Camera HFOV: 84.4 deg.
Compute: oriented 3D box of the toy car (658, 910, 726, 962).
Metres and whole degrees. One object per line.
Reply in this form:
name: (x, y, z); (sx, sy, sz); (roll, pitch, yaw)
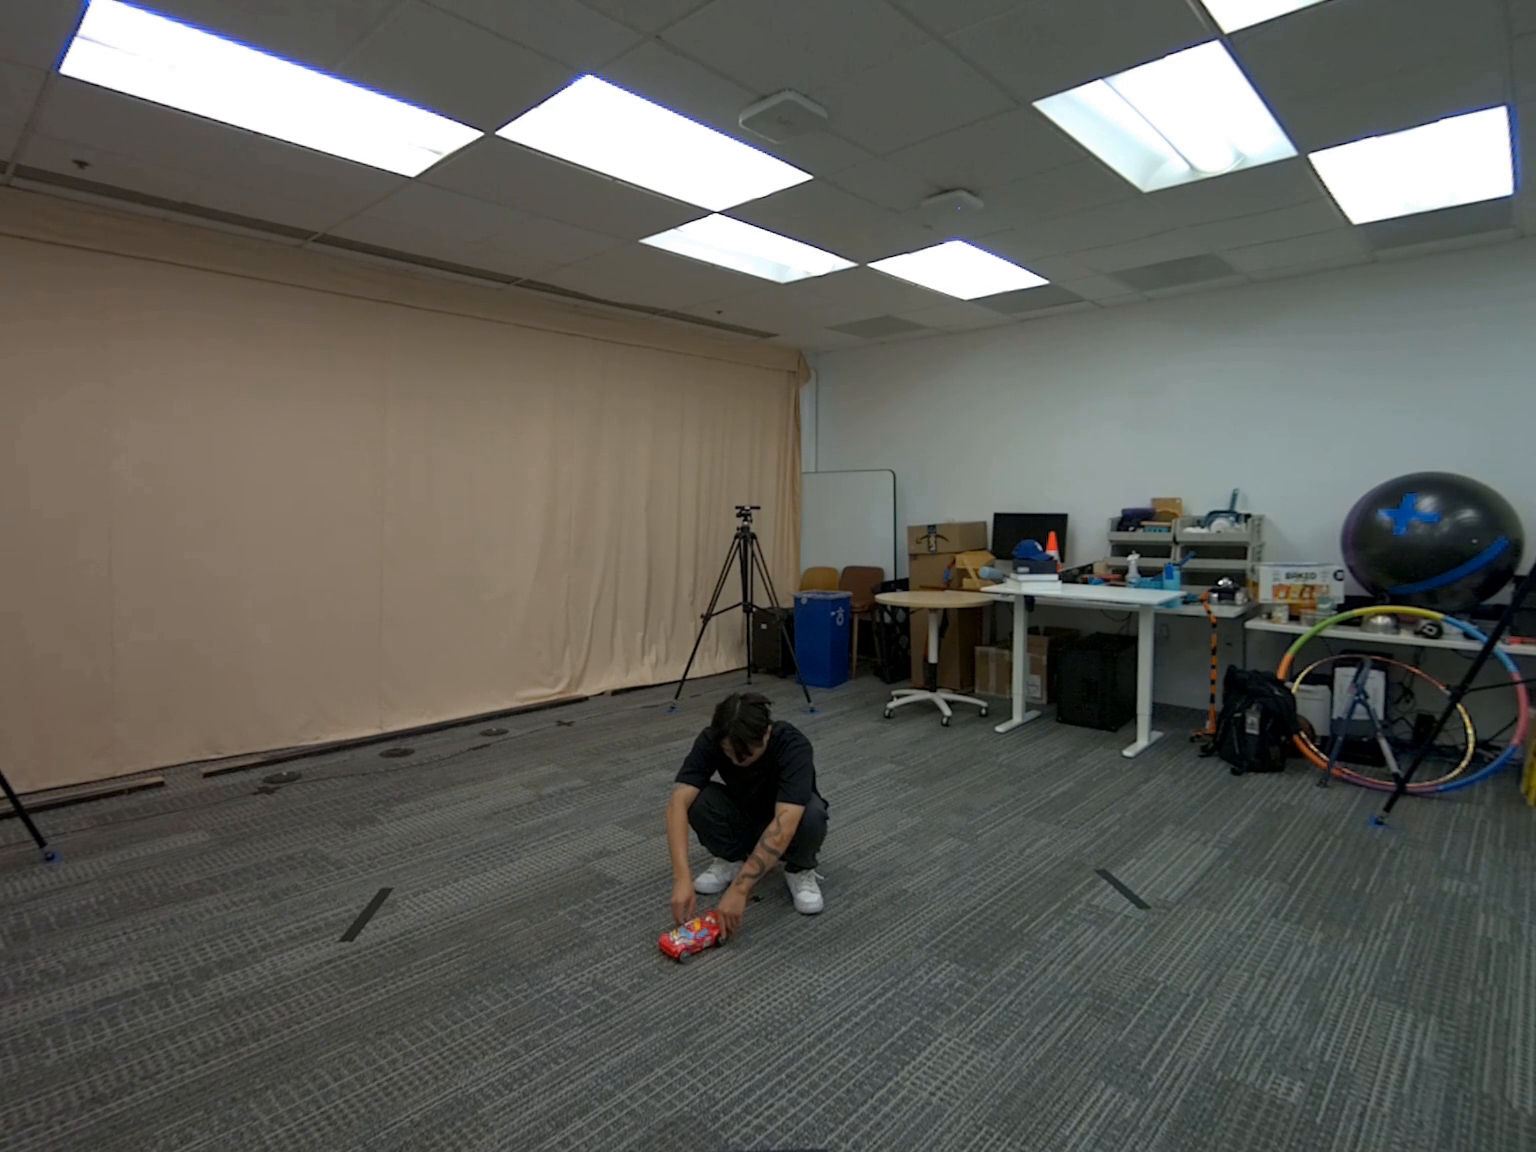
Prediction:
toy car: (-0.220, 1.135, 2.667); (0.248, 0.082, 0.135); (-18, 16, -38)
